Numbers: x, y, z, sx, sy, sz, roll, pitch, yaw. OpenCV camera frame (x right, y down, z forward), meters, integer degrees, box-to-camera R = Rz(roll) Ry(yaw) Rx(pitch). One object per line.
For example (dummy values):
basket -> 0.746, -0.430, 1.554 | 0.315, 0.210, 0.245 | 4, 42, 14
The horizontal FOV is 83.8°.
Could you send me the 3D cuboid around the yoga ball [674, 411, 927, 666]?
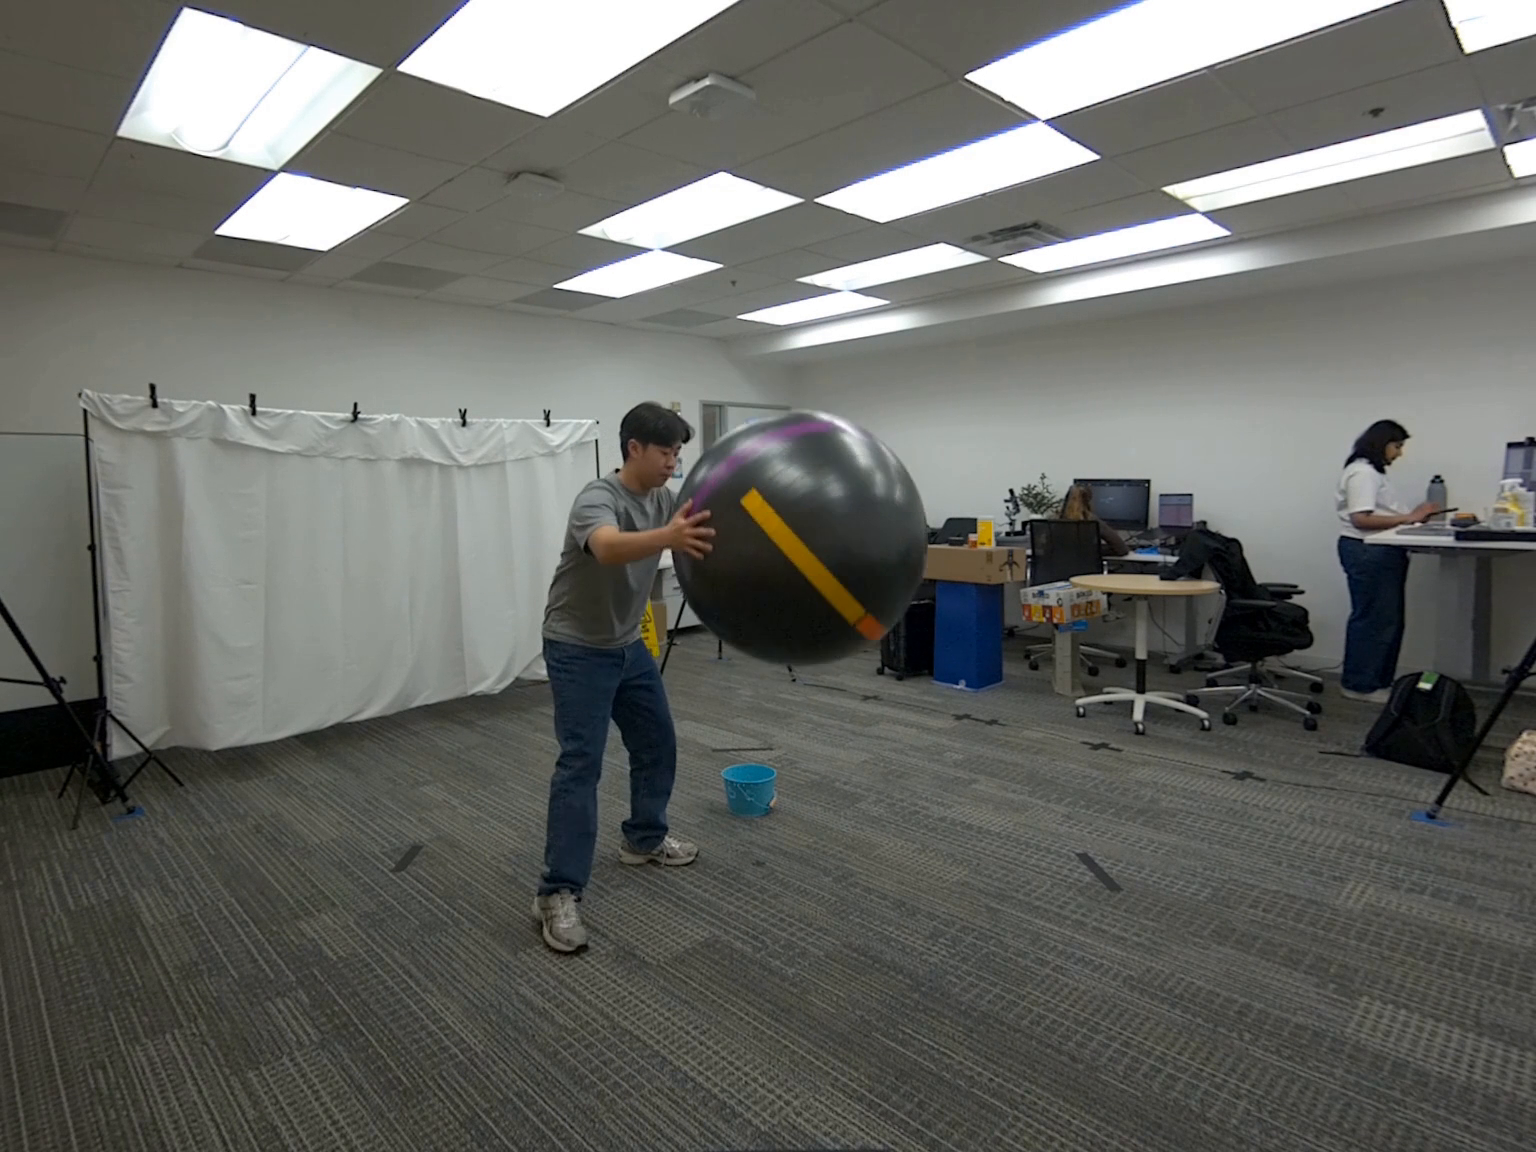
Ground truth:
yoga ball -> 0.080, -0.094, 2.544 | 0.757, 0.755, 0.762 | -1, 5, -2
